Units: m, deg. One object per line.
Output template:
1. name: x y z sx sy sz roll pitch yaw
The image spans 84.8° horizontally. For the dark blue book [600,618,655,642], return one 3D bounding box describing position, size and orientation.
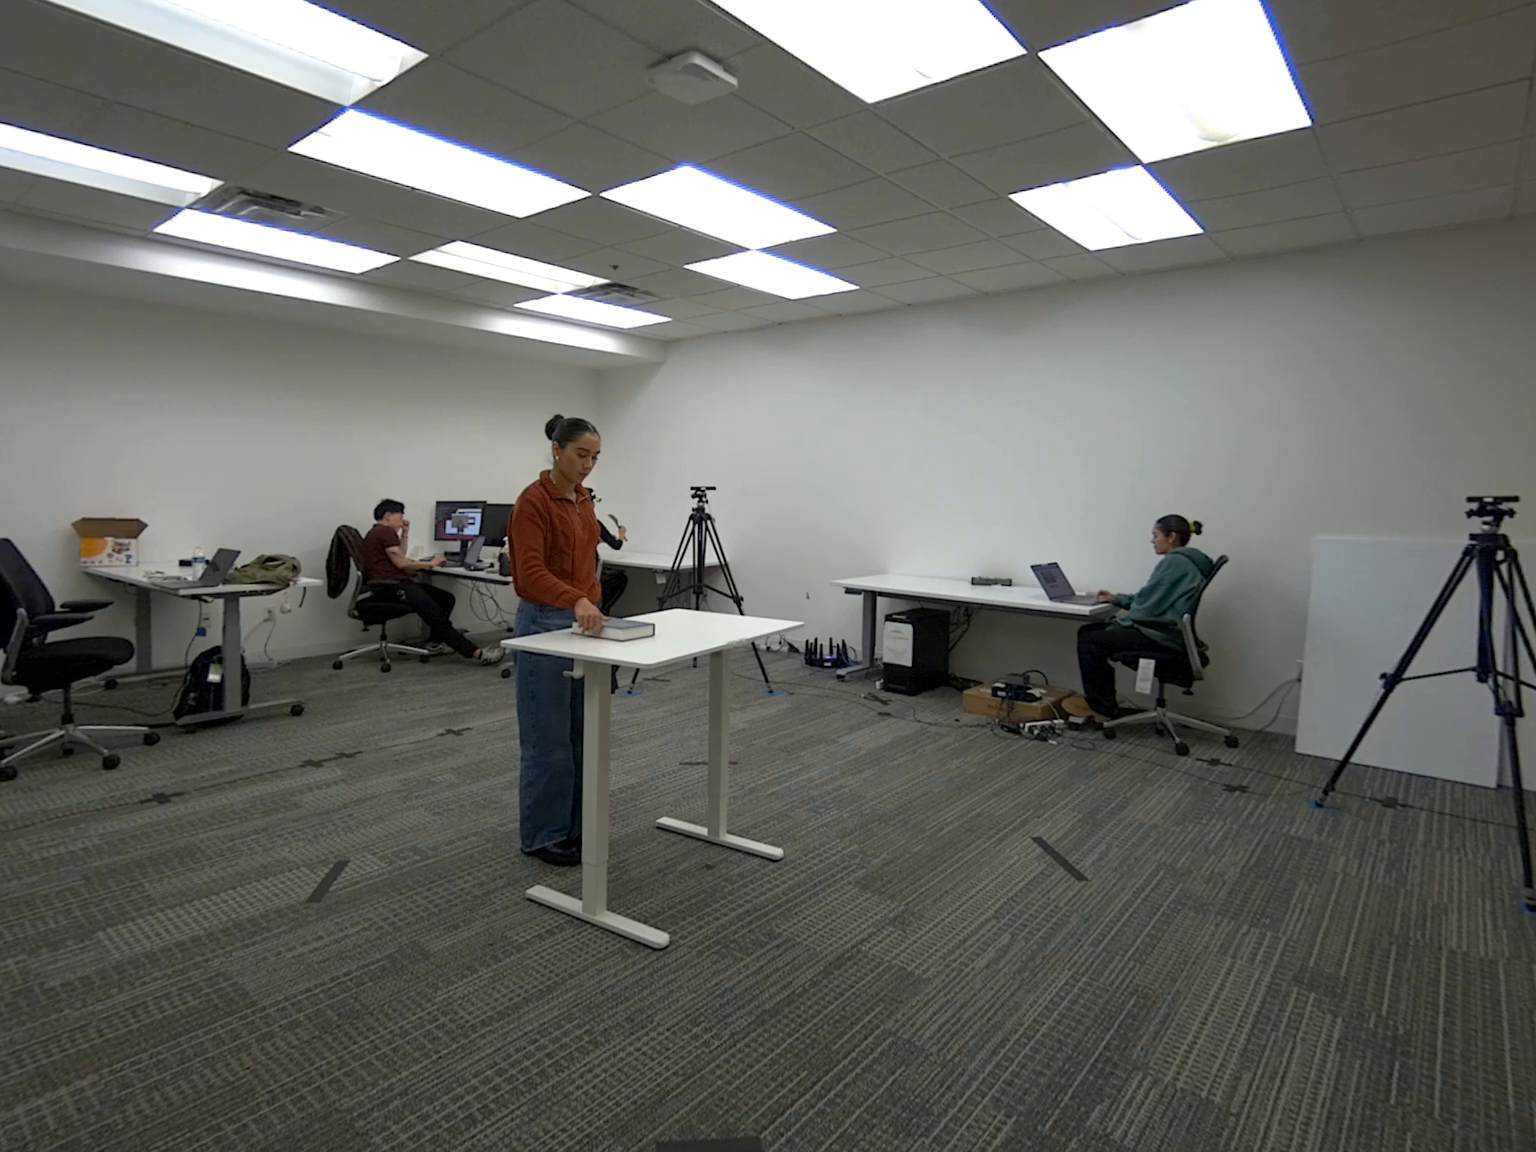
1. dark blue book: -0.544 0.179 2.913 0.253 0.045 0.159 5 7 35
